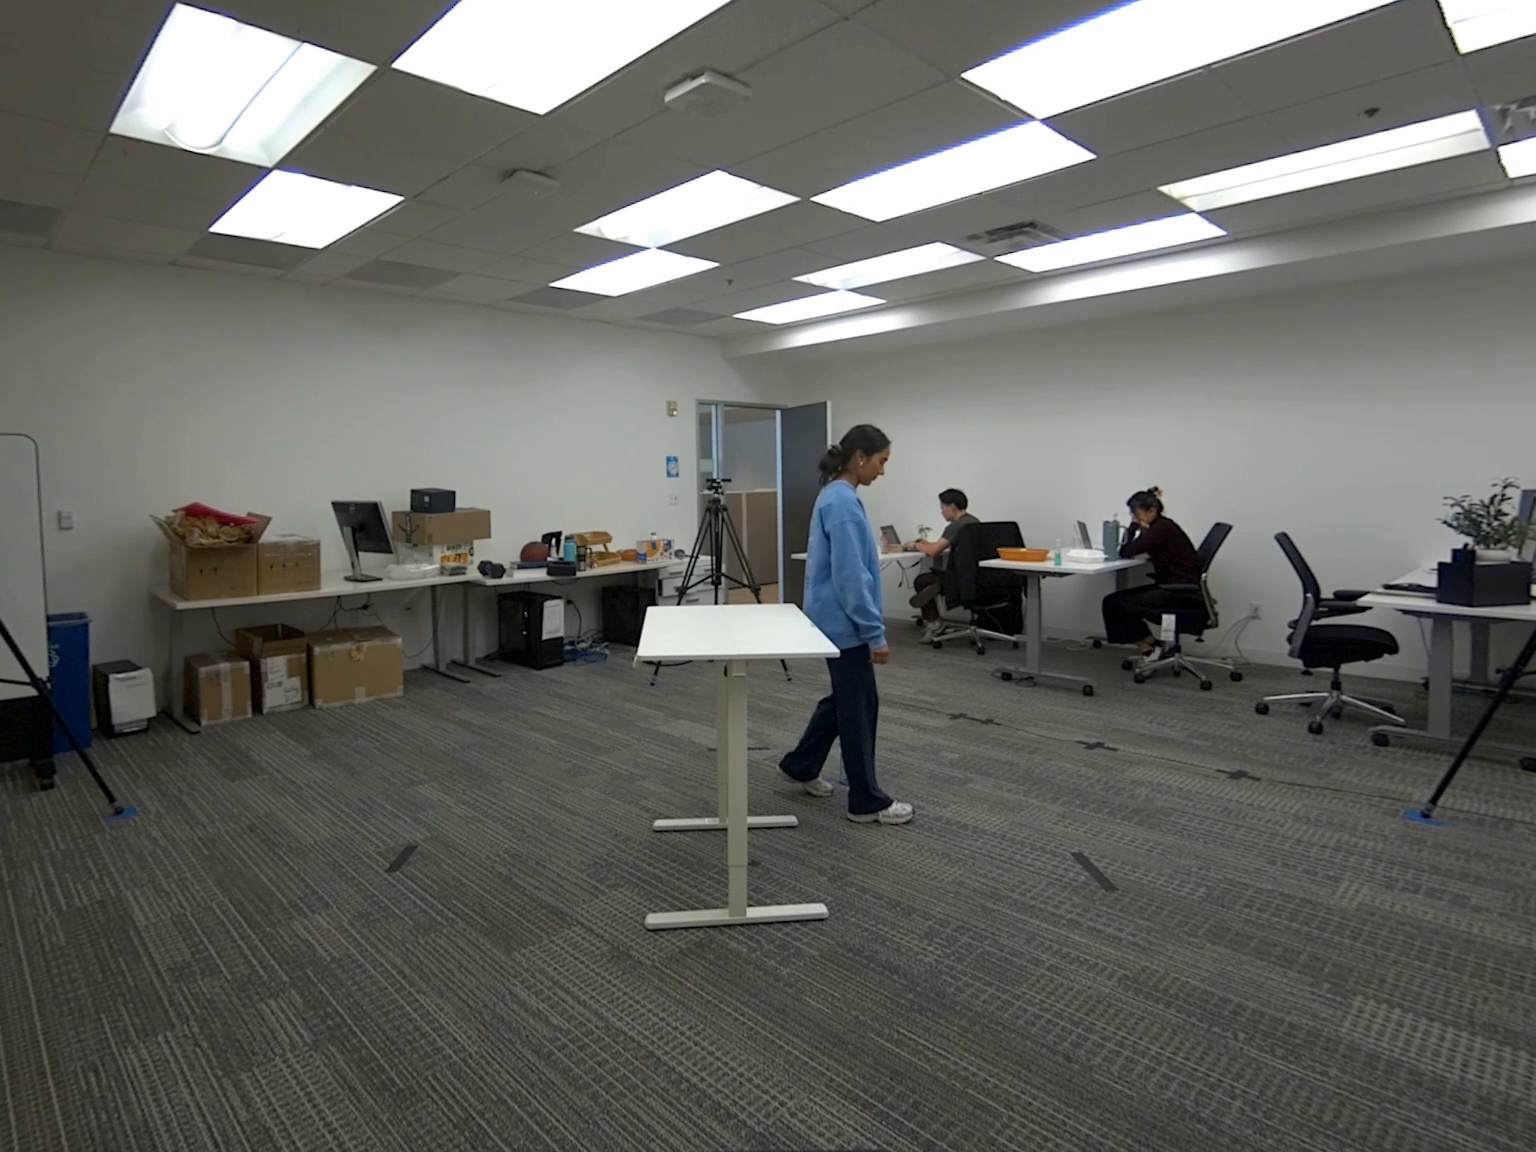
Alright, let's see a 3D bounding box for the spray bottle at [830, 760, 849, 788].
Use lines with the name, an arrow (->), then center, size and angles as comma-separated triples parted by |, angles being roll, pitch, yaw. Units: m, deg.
spray bottle -> 0.373, 0.802, 3.915 | 0.088, 0.296, 0.089 | 0, 4, -29
